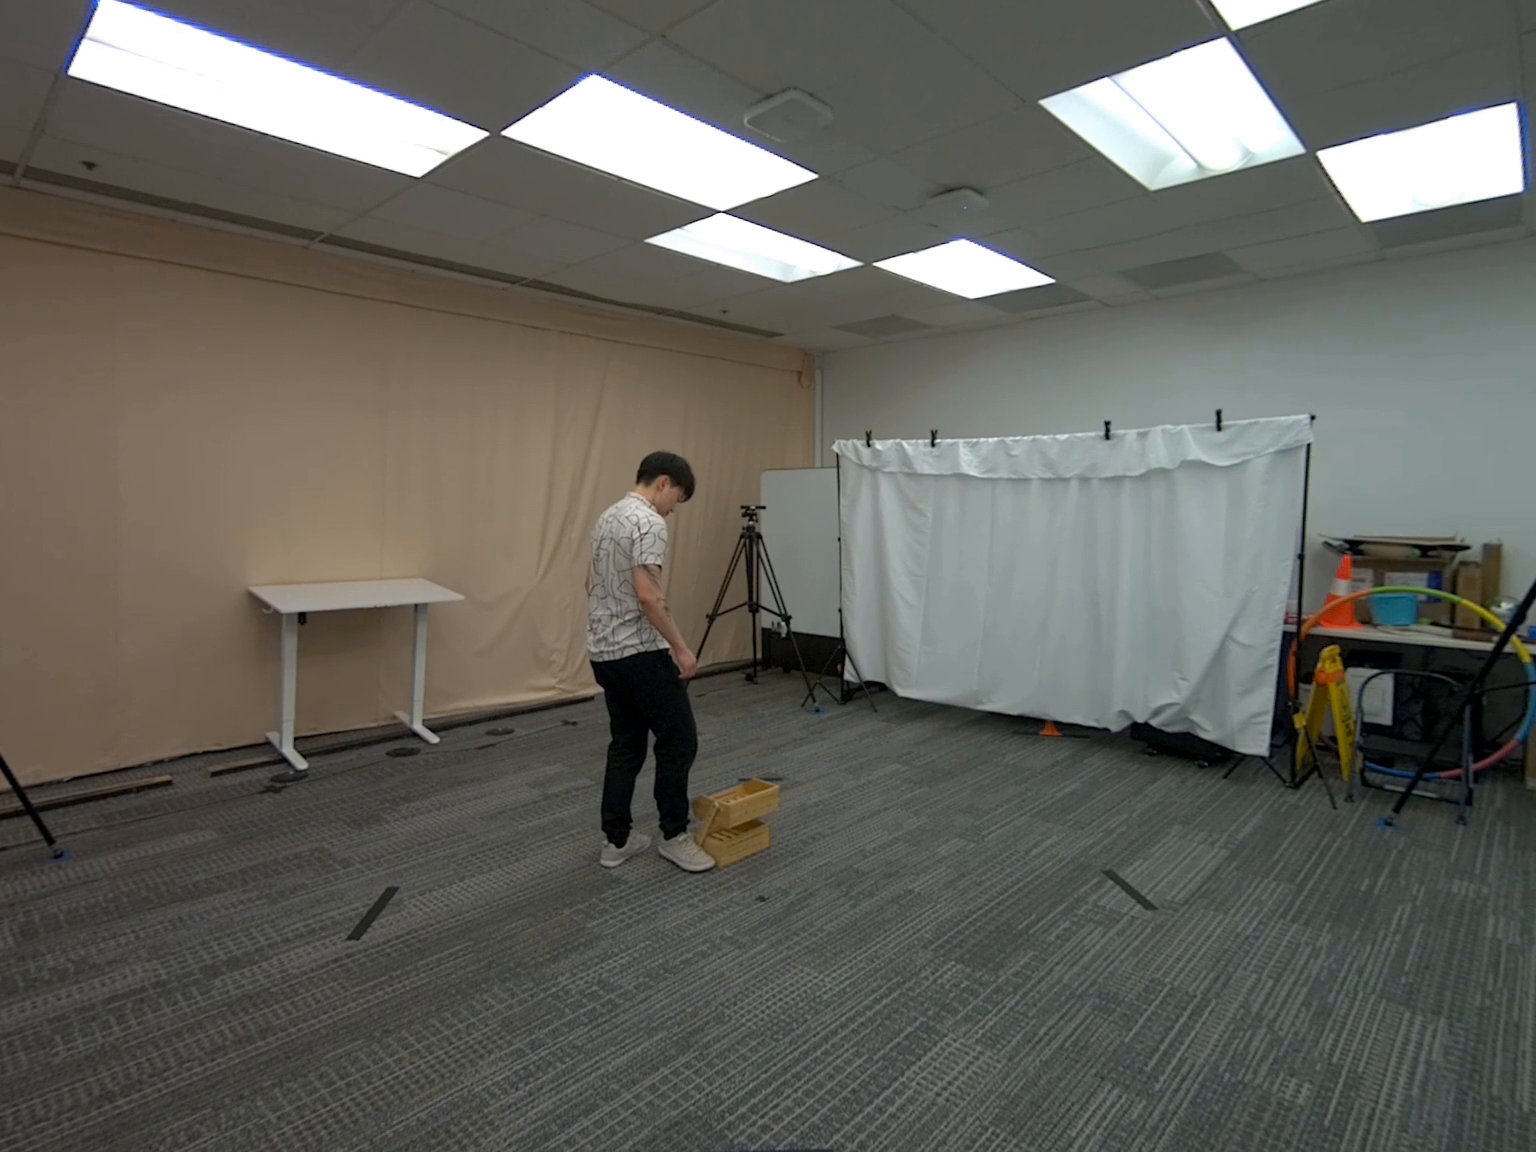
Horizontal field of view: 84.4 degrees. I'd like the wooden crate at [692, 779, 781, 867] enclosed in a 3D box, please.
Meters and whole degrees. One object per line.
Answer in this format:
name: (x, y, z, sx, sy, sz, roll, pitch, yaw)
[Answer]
wooden crate: (-0.164, 0.974, 3.397, 0.312, 0.272, 0.314, 5, 6, 43)
